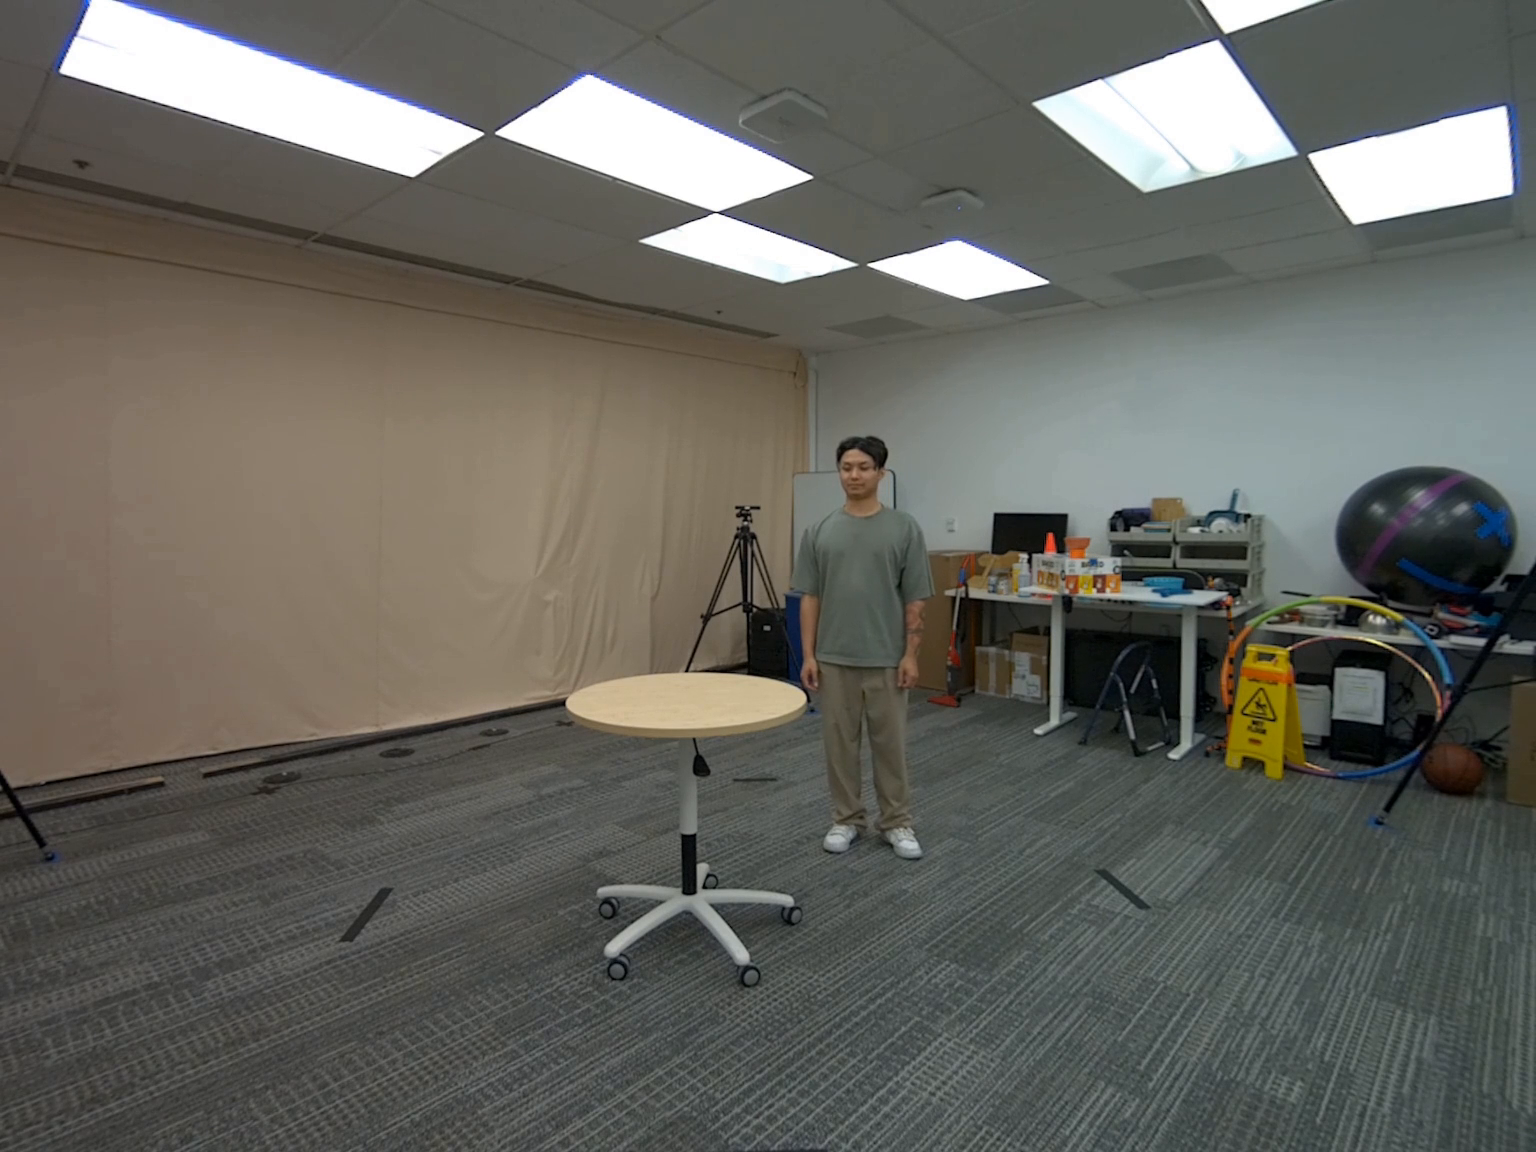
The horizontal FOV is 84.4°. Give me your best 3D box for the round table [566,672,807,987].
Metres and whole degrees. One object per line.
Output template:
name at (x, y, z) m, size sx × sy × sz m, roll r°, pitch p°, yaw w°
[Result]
round table at (-0.260, 0.774, 2.728) m, size 0.784 × 0.785 × 0.788 m, roll -1°, pitch 4°, yaw -2°
